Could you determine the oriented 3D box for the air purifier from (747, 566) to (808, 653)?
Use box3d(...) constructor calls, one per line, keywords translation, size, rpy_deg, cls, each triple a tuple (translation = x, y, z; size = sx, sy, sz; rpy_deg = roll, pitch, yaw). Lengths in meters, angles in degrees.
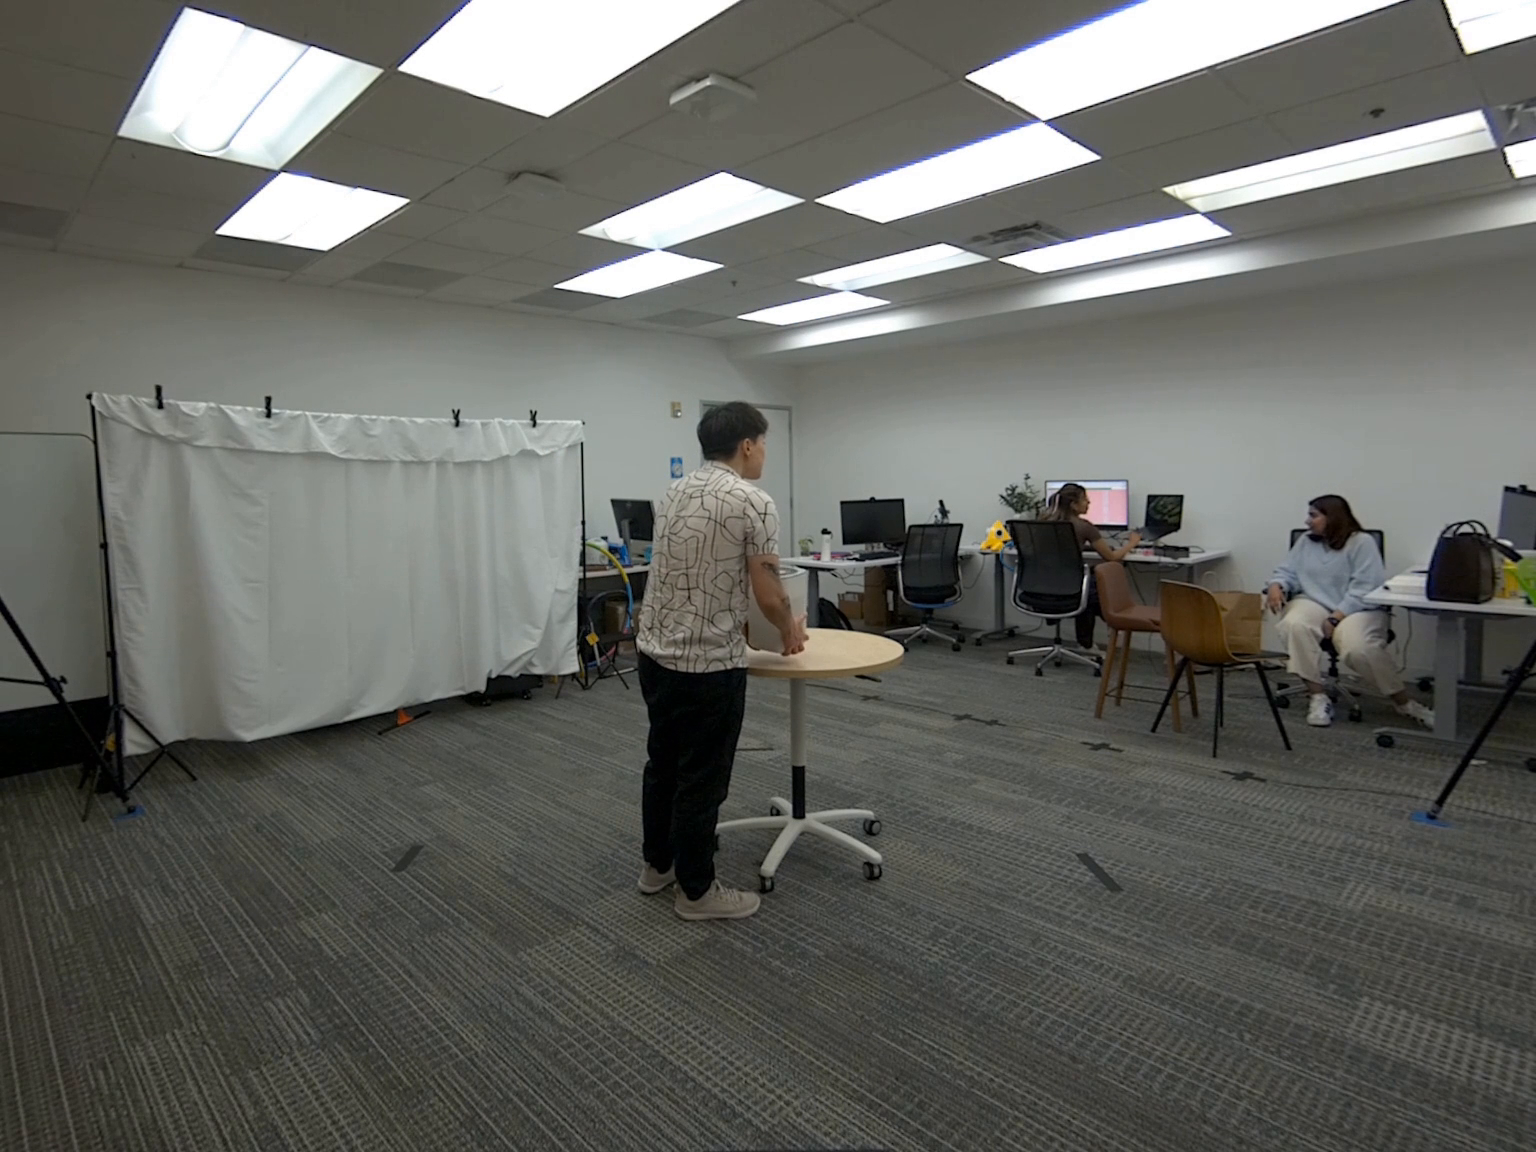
box3d(translation=(0.031, 0.114, 2.910), size=(0.176, 0.263, 0.168), rpy_deg=(6, 11, 35), cls="air purifier")
